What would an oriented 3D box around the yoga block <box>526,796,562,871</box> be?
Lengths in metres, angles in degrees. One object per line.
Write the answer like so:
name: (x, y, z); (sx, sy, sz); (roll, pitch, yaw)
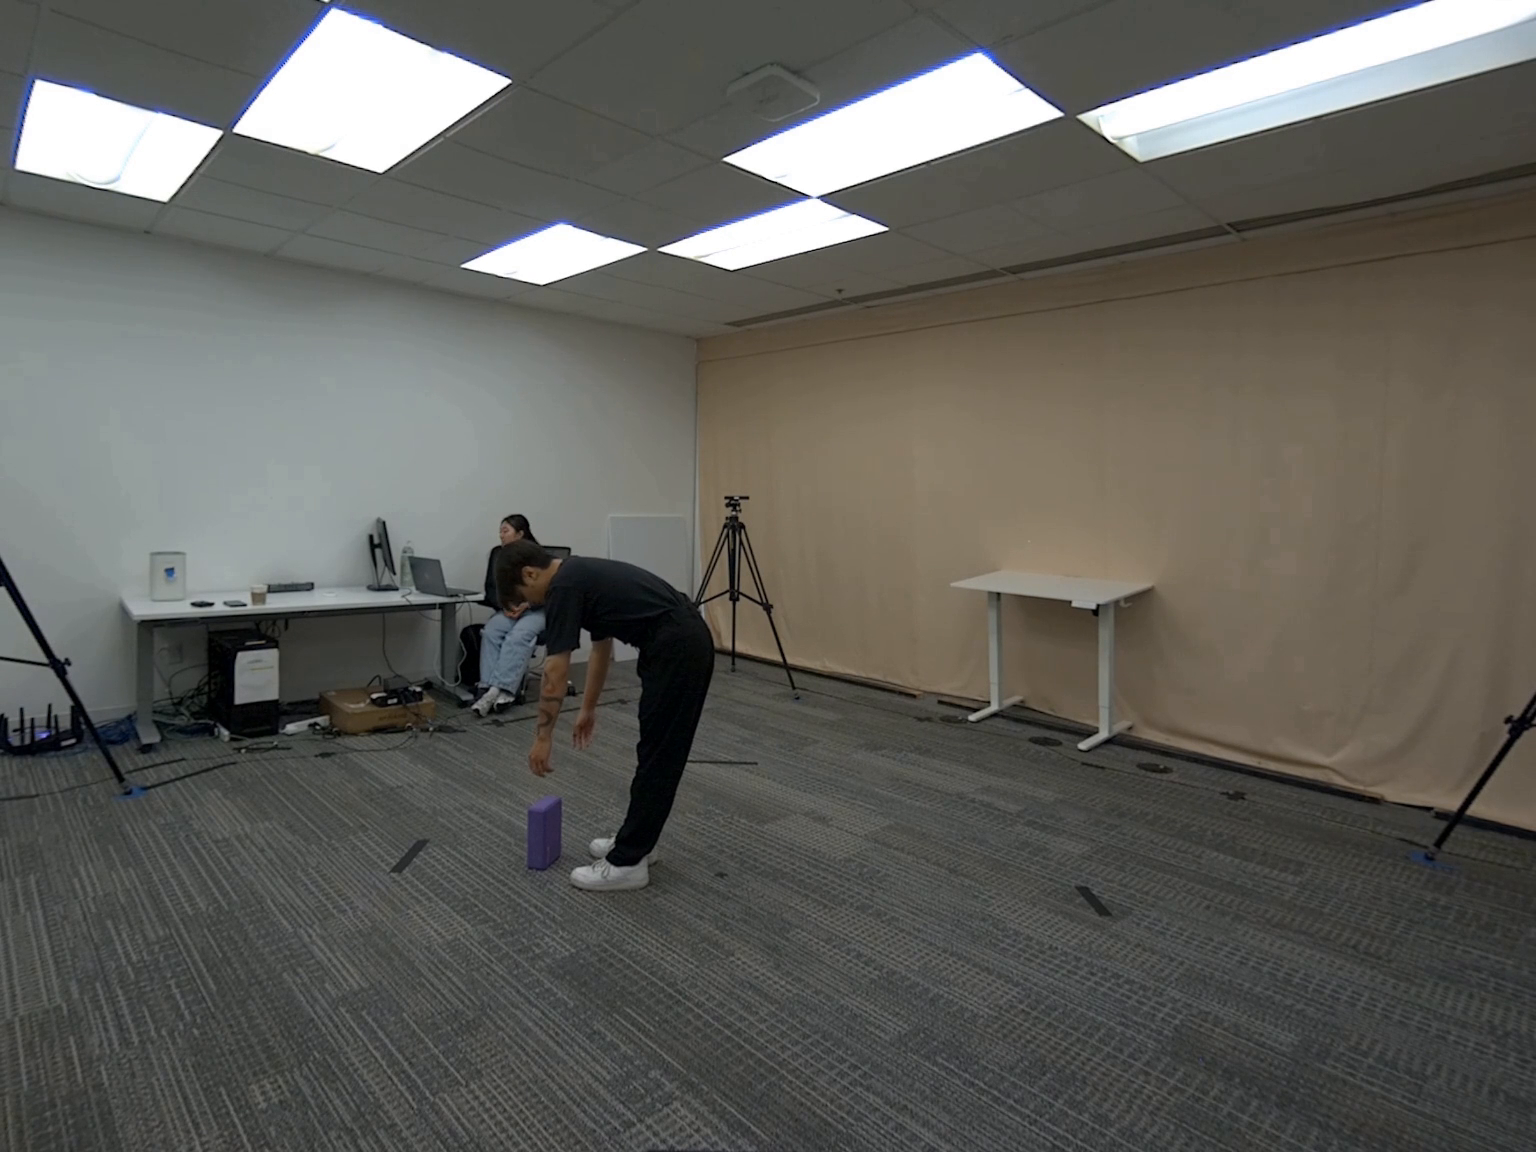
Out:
yoga block: (-0.843, 0.966, 3.171); (0.077, 0.229, 0.148); (0, 4, 11)
